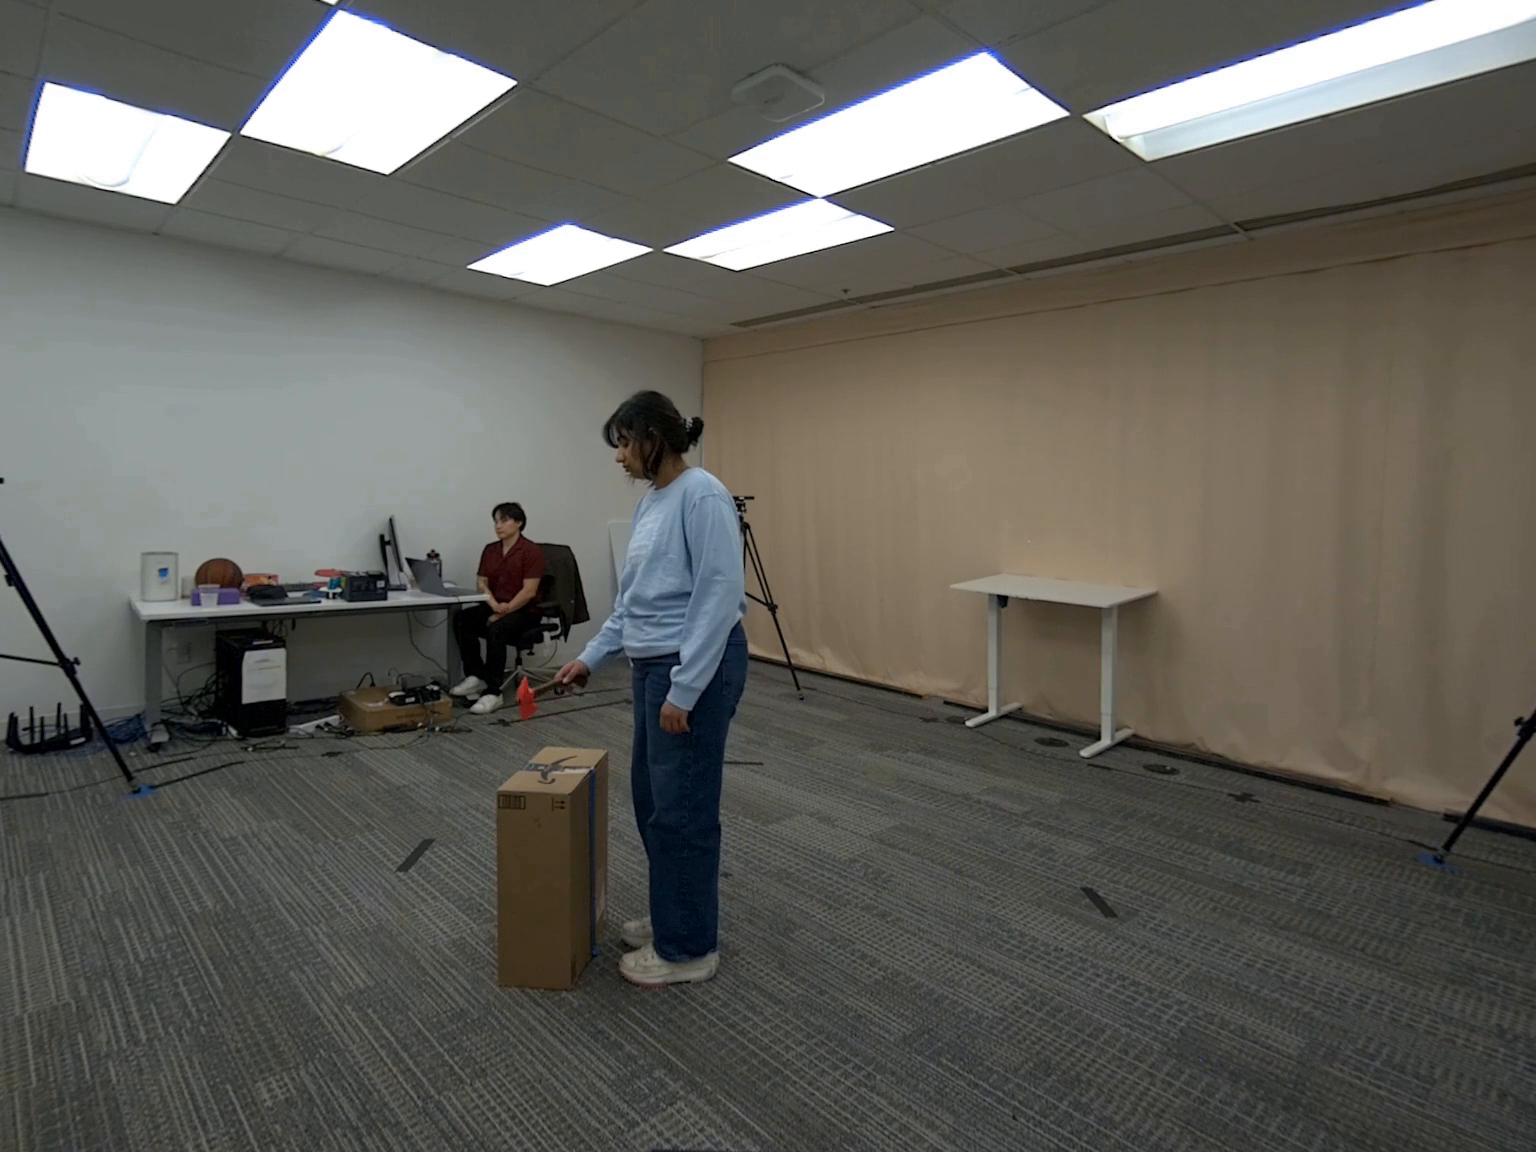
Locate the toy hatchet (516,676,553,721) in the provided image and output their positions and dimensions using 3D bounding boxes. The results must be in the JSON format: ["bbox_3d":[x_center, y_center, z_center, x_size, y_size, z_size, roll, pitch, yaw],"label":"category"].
[{"bbox_3d":[-0.635,0.350,2.482,0.030,0.131,0.264,20,7,28],"label":"toy hatchet"}]
